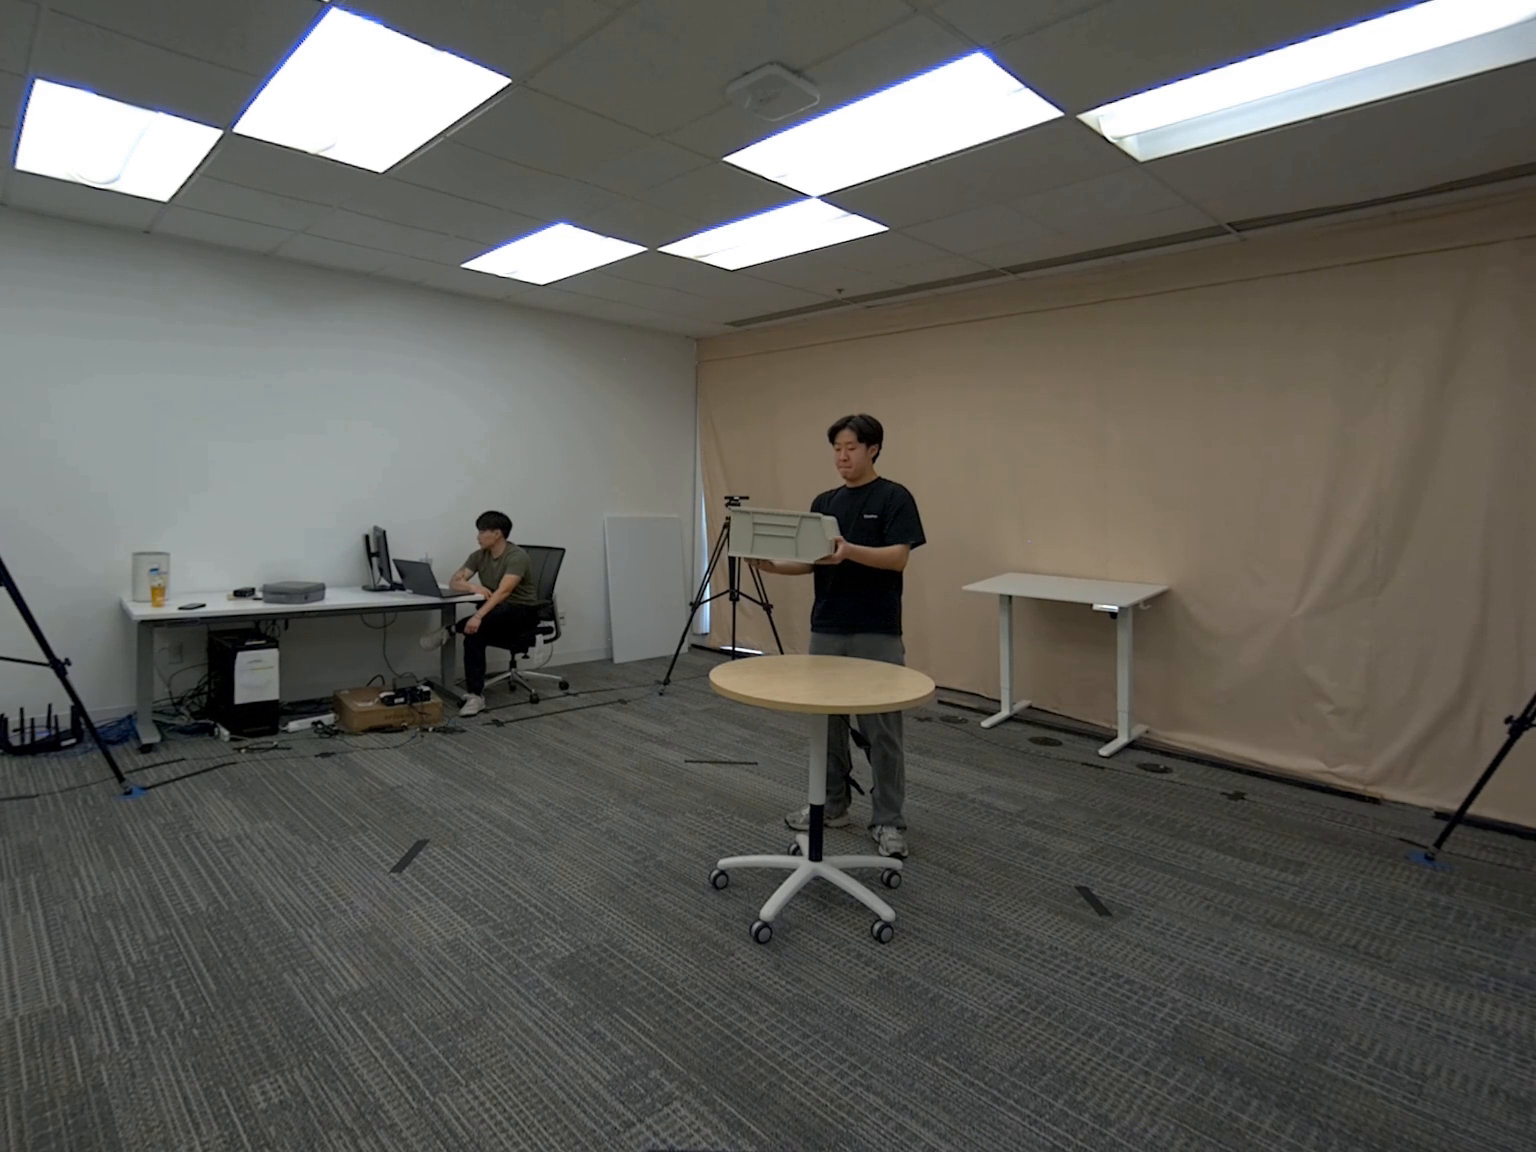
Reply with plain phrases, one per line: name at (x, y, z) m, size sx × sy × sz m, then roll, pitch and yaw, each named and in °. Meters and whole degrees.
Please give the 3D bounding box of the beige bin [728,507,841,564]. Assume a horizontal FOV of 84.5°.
beige bin at (0.073, -0.148, 3.204) m, size 0.381 × 0.188 × 0.419 m, roll 5°, pitch 4°, yaw 9°
